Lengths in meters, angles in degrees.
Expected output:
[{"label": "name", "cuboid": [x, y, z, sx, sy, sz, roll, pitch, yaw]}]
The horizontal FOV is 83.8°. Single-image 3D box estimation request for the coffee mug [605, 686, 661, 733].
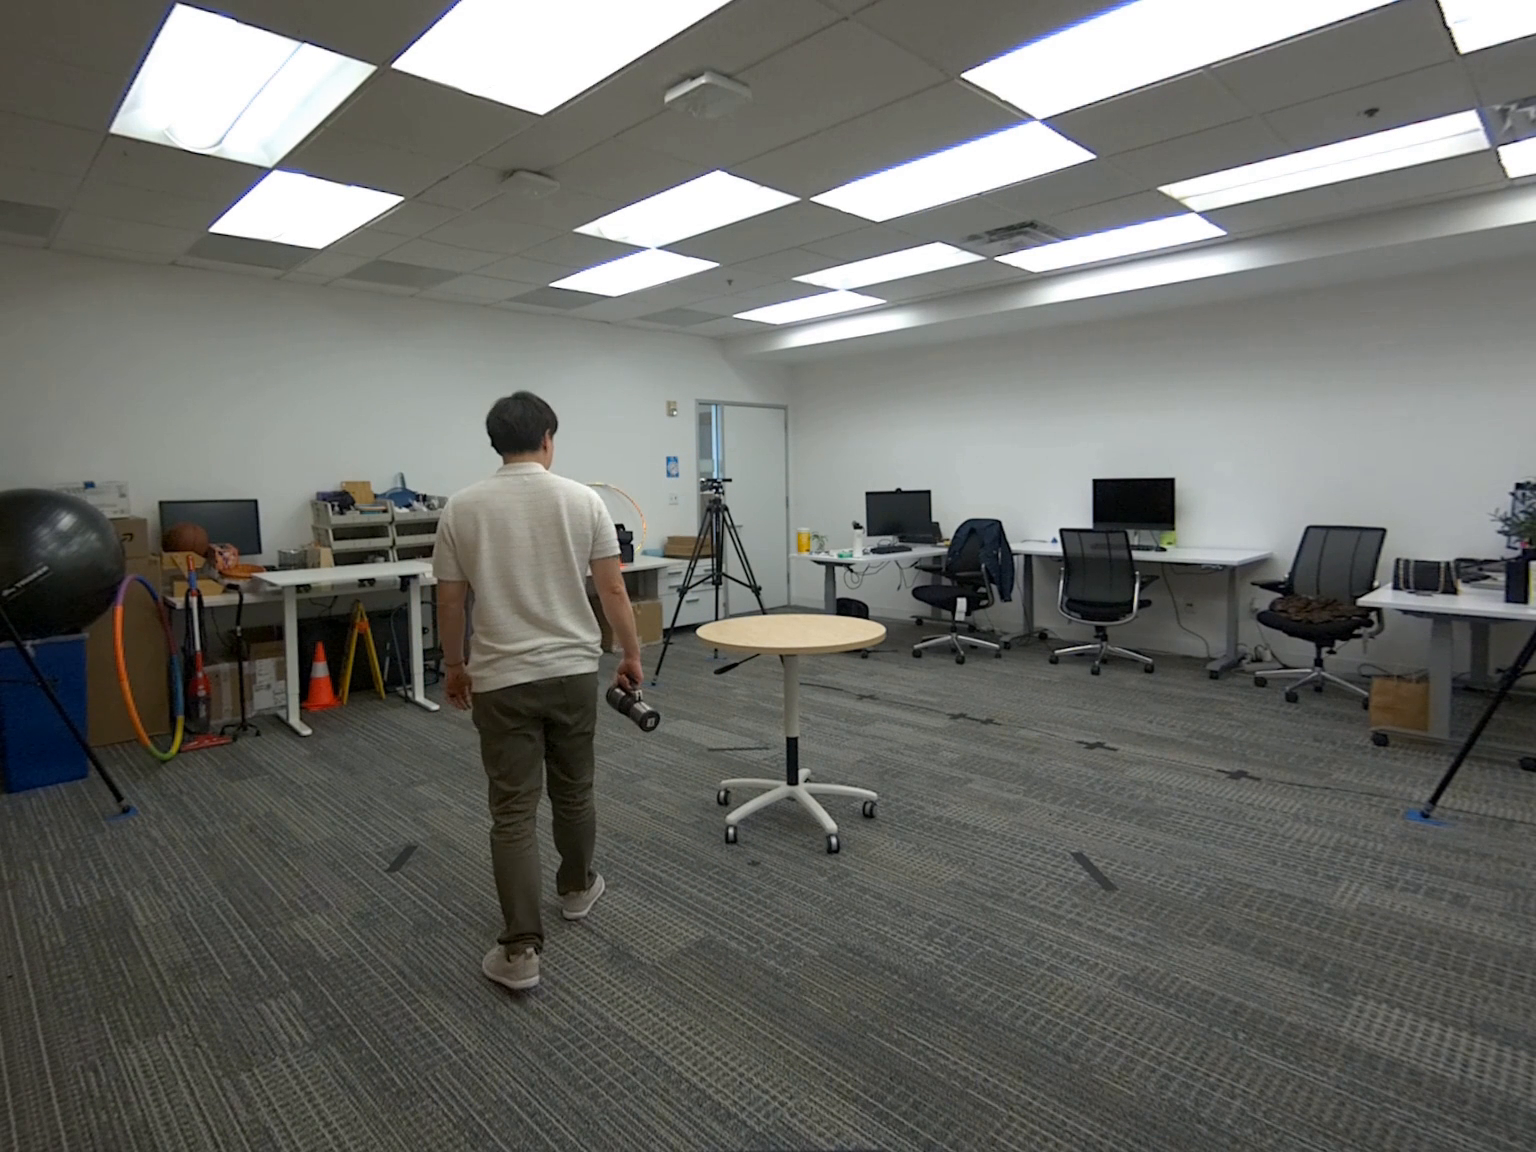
[{"label": "coffee mug", "cuboid": [-0.426, 0.394, 2.671, 0.087, 0.118, 0.211, -35, 35, -22]}]
